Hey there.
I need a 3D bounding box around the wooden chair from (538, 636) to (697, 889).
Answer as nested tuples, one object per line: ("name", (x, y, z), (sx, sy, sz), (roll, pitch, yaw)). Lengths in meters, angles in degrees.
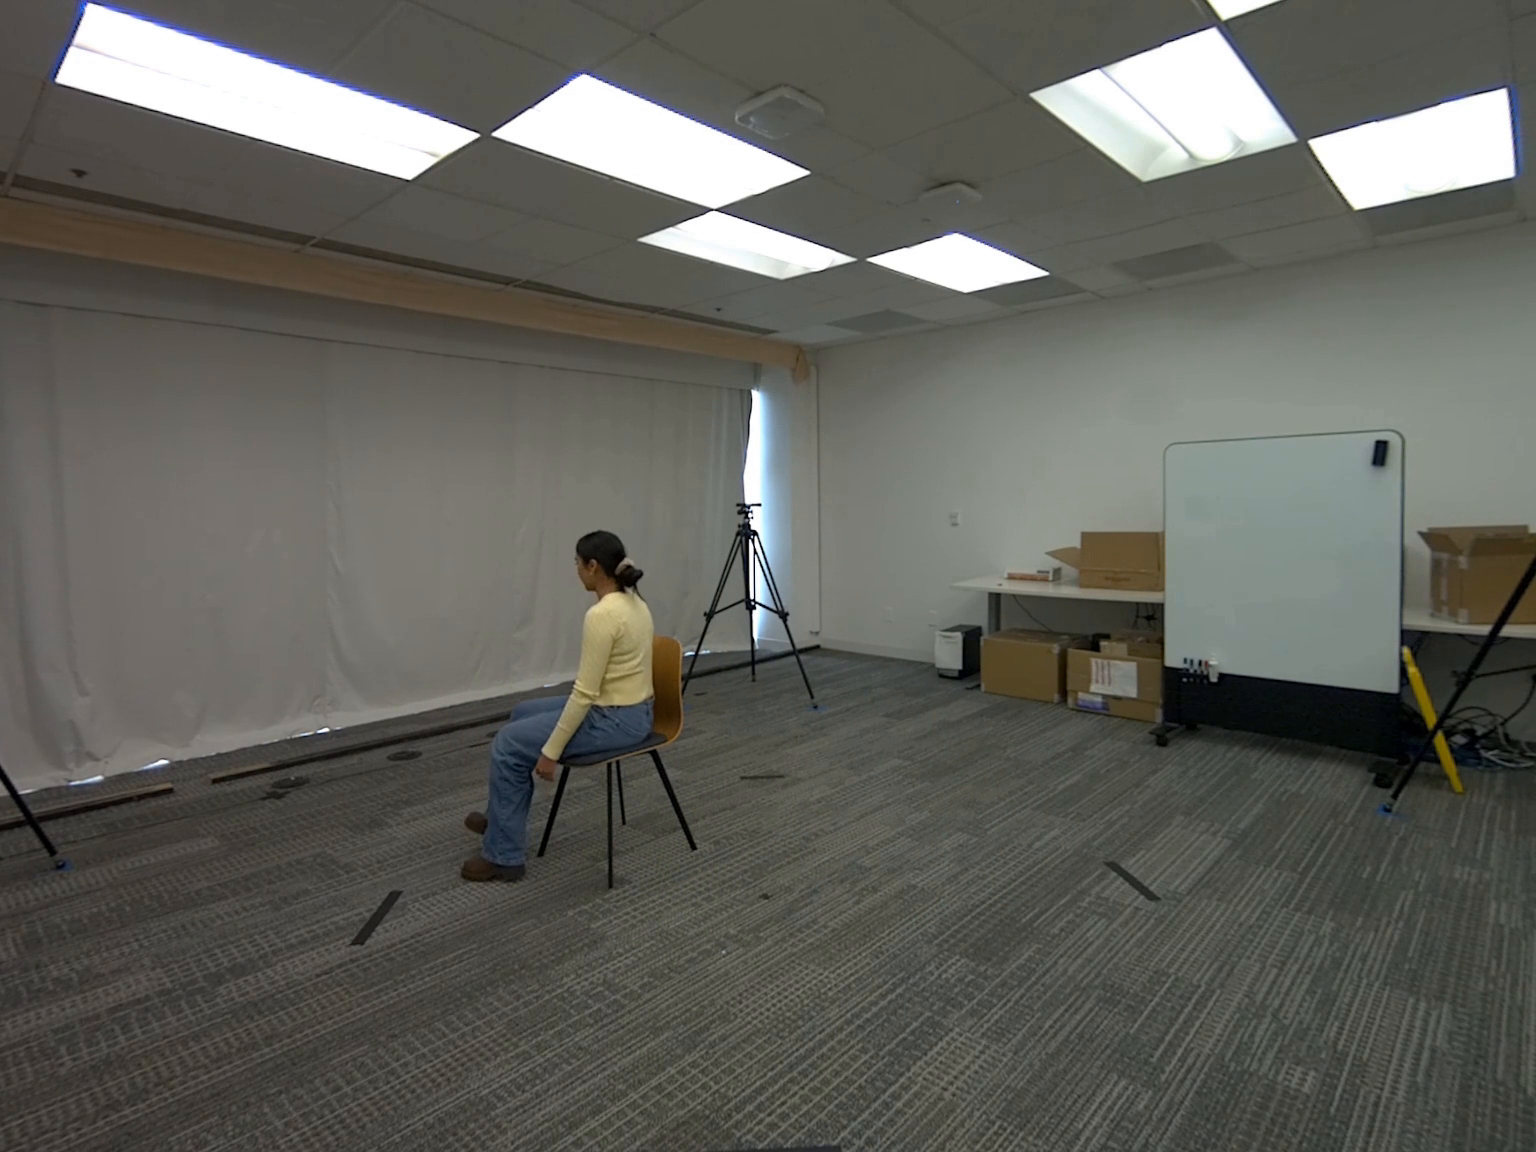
("wooden chair", (-0.613, 0.692, 3.342), (0.494, 0.877, 0.506), (2, 1, 42))
